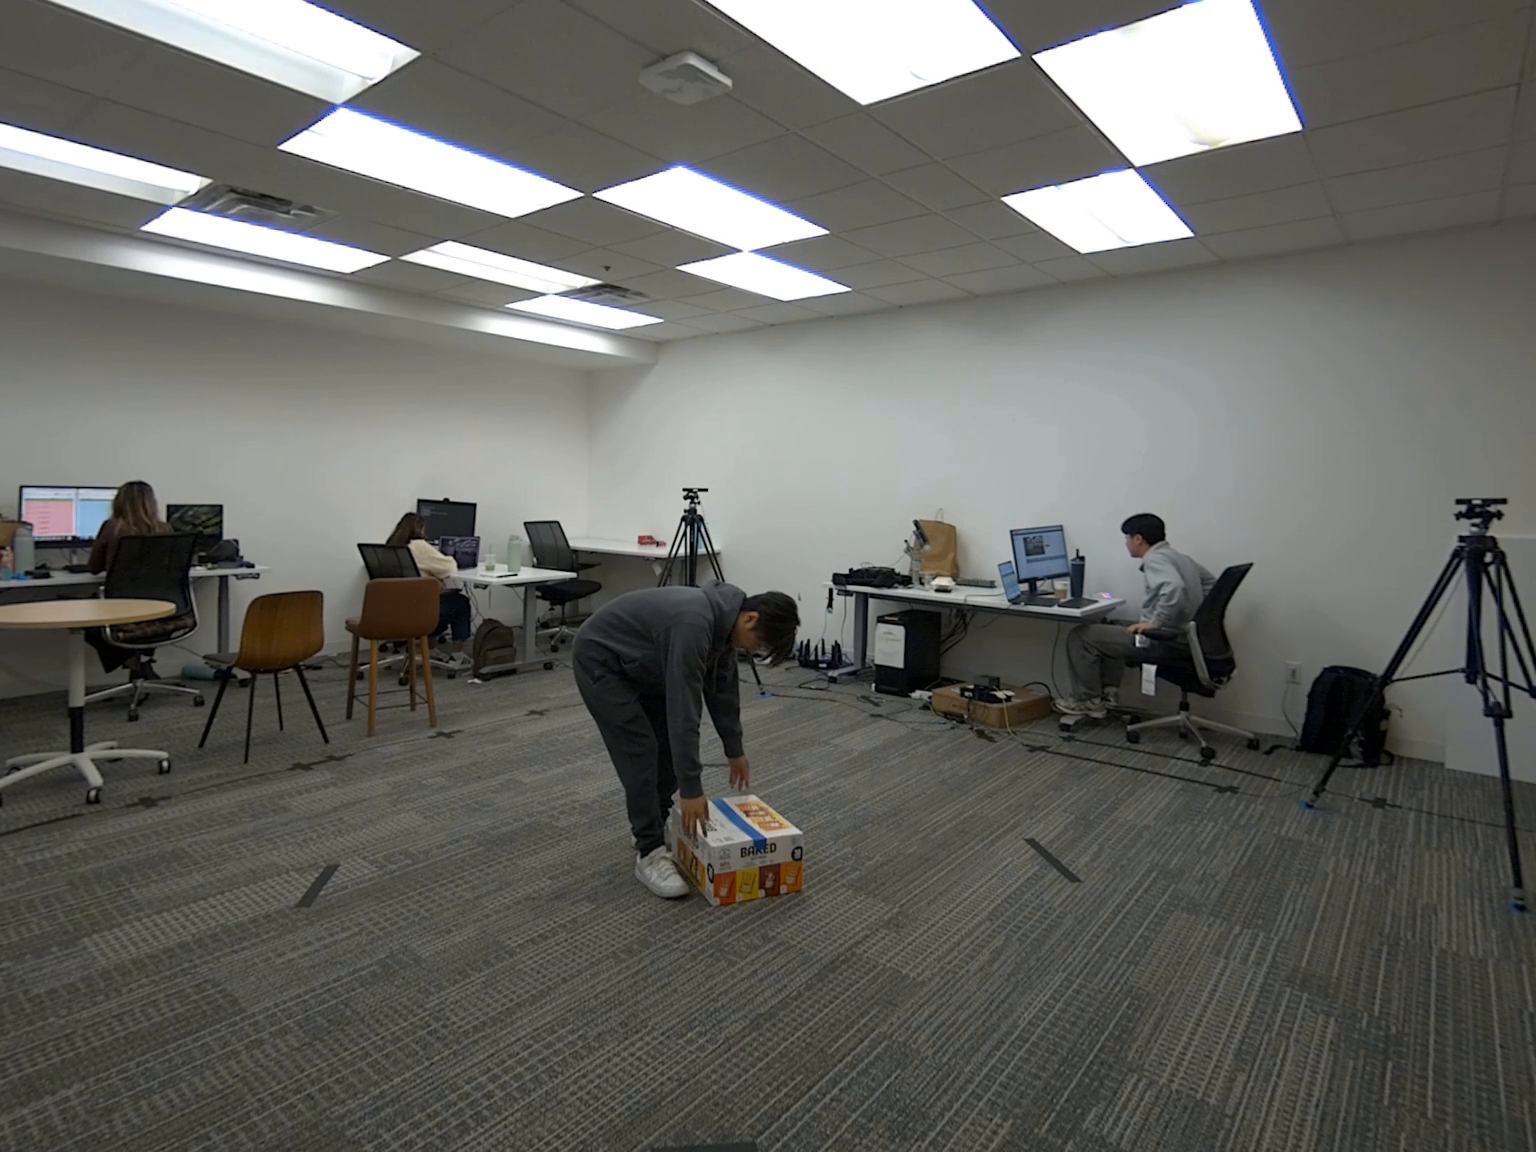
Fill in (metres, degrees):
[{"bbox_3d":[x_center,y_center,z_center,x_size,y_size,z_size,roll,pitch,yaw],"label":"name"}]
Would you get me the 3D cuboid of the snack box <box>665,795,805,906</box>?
[{"bbox_3d":[-0.130,0.972,3.068,0.332,0.205,0.416,-1,5,-25],"label":"snack box"}]
